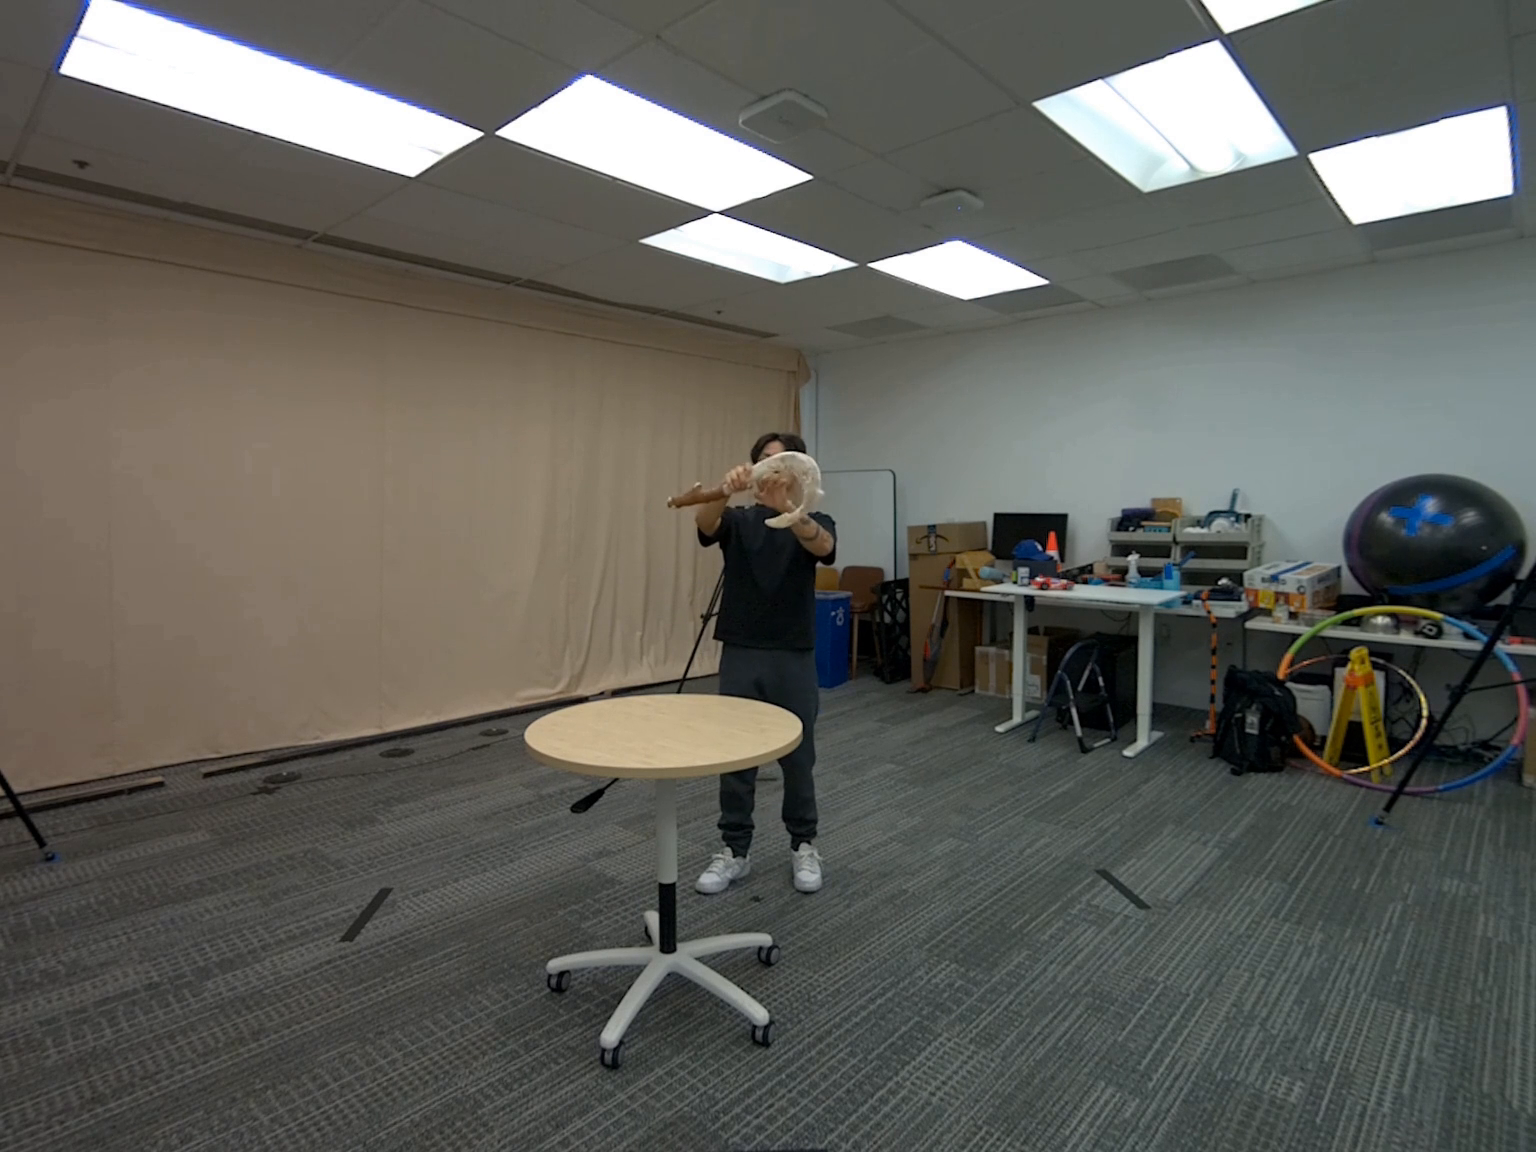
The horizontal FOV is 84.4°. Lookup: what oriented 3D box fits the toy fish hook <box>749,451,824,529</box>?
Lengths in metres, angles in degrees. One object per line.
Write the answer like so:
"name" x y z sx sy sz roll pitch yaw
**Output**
"toy fish hook" -0.069 -0.236 2.614 0.516 0.227 0.047 -13 -13 21
